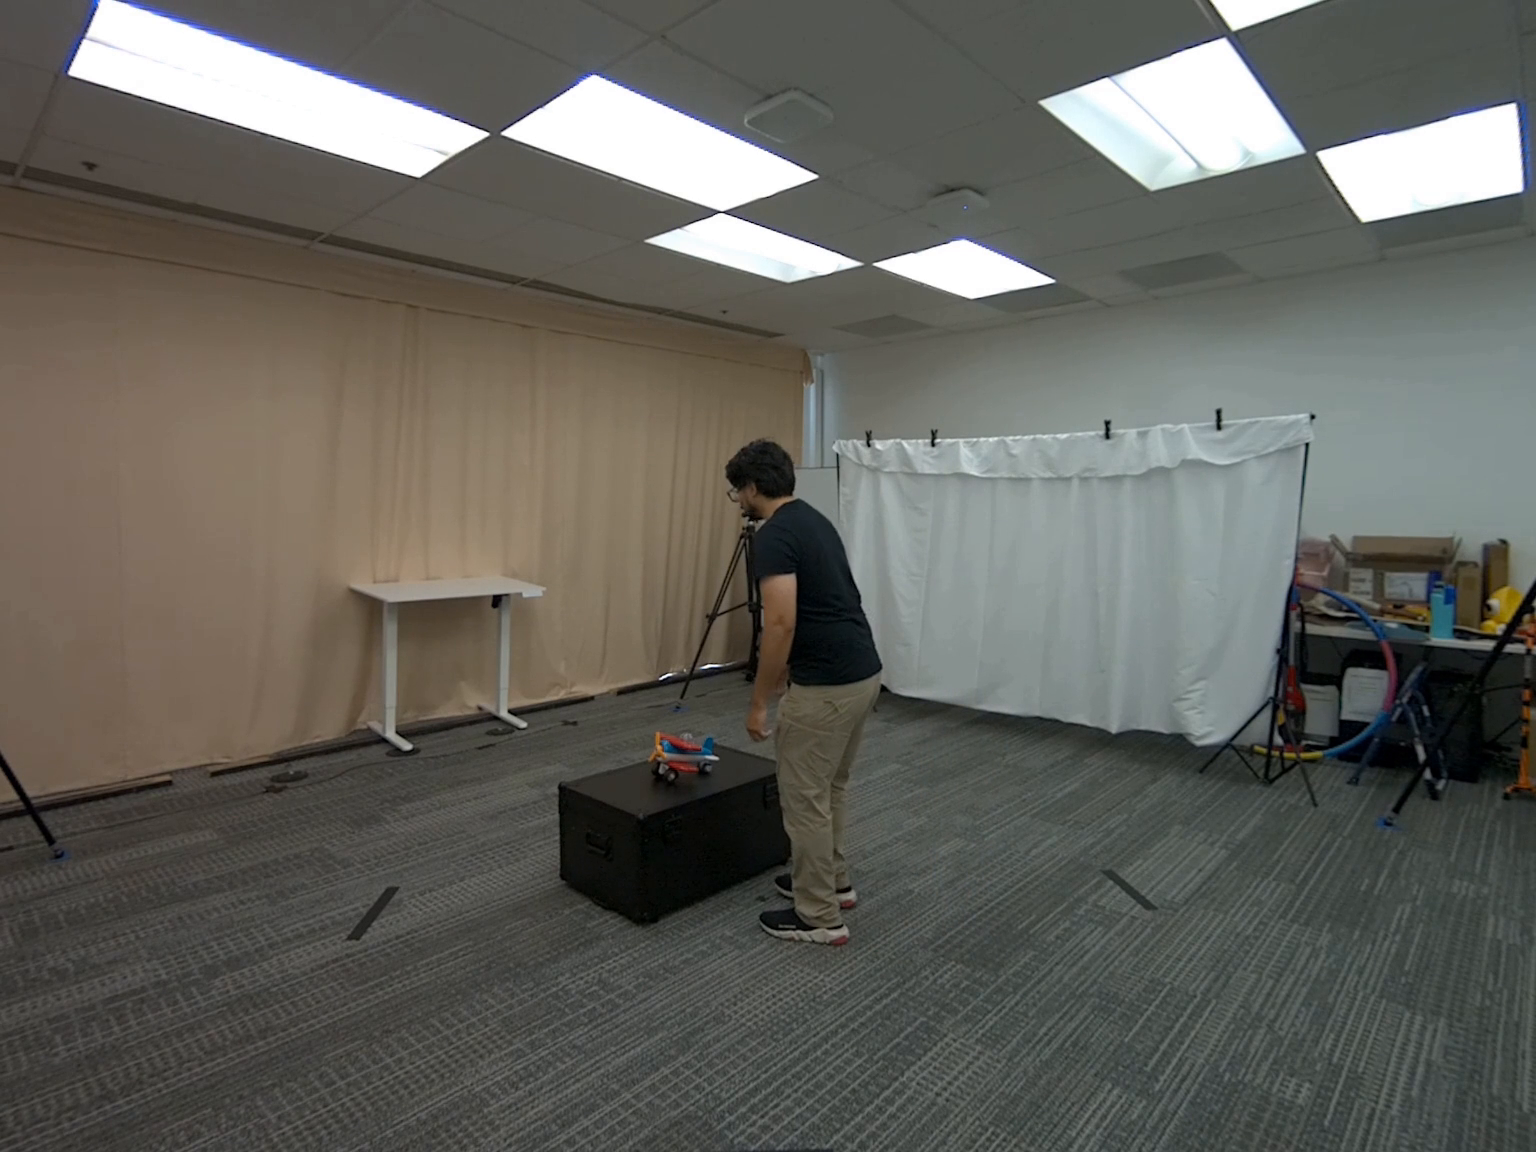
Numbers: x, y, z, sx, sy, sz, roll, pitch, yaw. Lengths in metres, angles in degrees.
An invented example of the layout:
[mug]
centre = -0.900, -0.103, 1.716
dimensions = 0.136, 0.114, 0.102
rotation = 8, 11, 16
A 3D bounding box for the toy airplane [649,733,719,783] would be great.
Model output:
[toy airplane]
centre = -0.329, 0.676, 3.189
dimensions = 0.257, 0.156, 0.253
rotation = 1, 6, 24
